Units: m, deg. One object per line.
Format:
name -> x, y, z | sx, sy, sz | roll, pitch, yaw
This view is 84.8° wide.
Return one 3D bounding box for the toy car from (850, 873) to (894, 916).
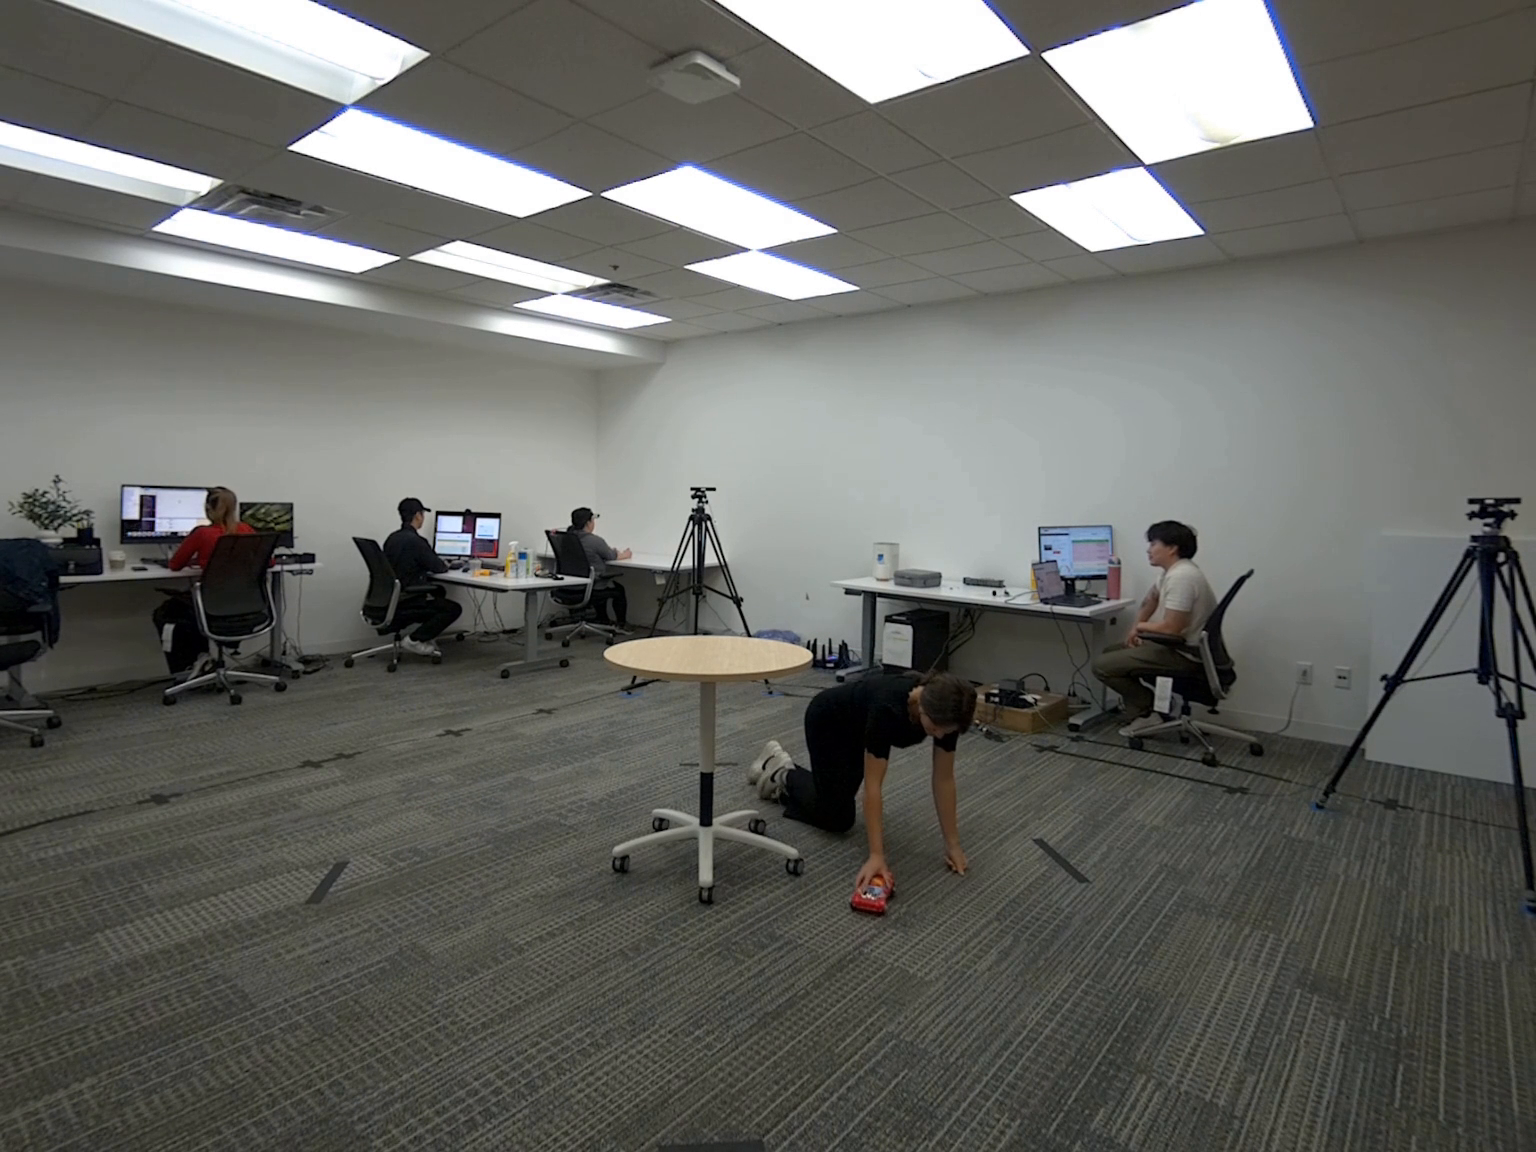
toy car -> 0.362, 1.072, 2.909 | 0.133, 0.082, 0.252 | 2, 15, 20
